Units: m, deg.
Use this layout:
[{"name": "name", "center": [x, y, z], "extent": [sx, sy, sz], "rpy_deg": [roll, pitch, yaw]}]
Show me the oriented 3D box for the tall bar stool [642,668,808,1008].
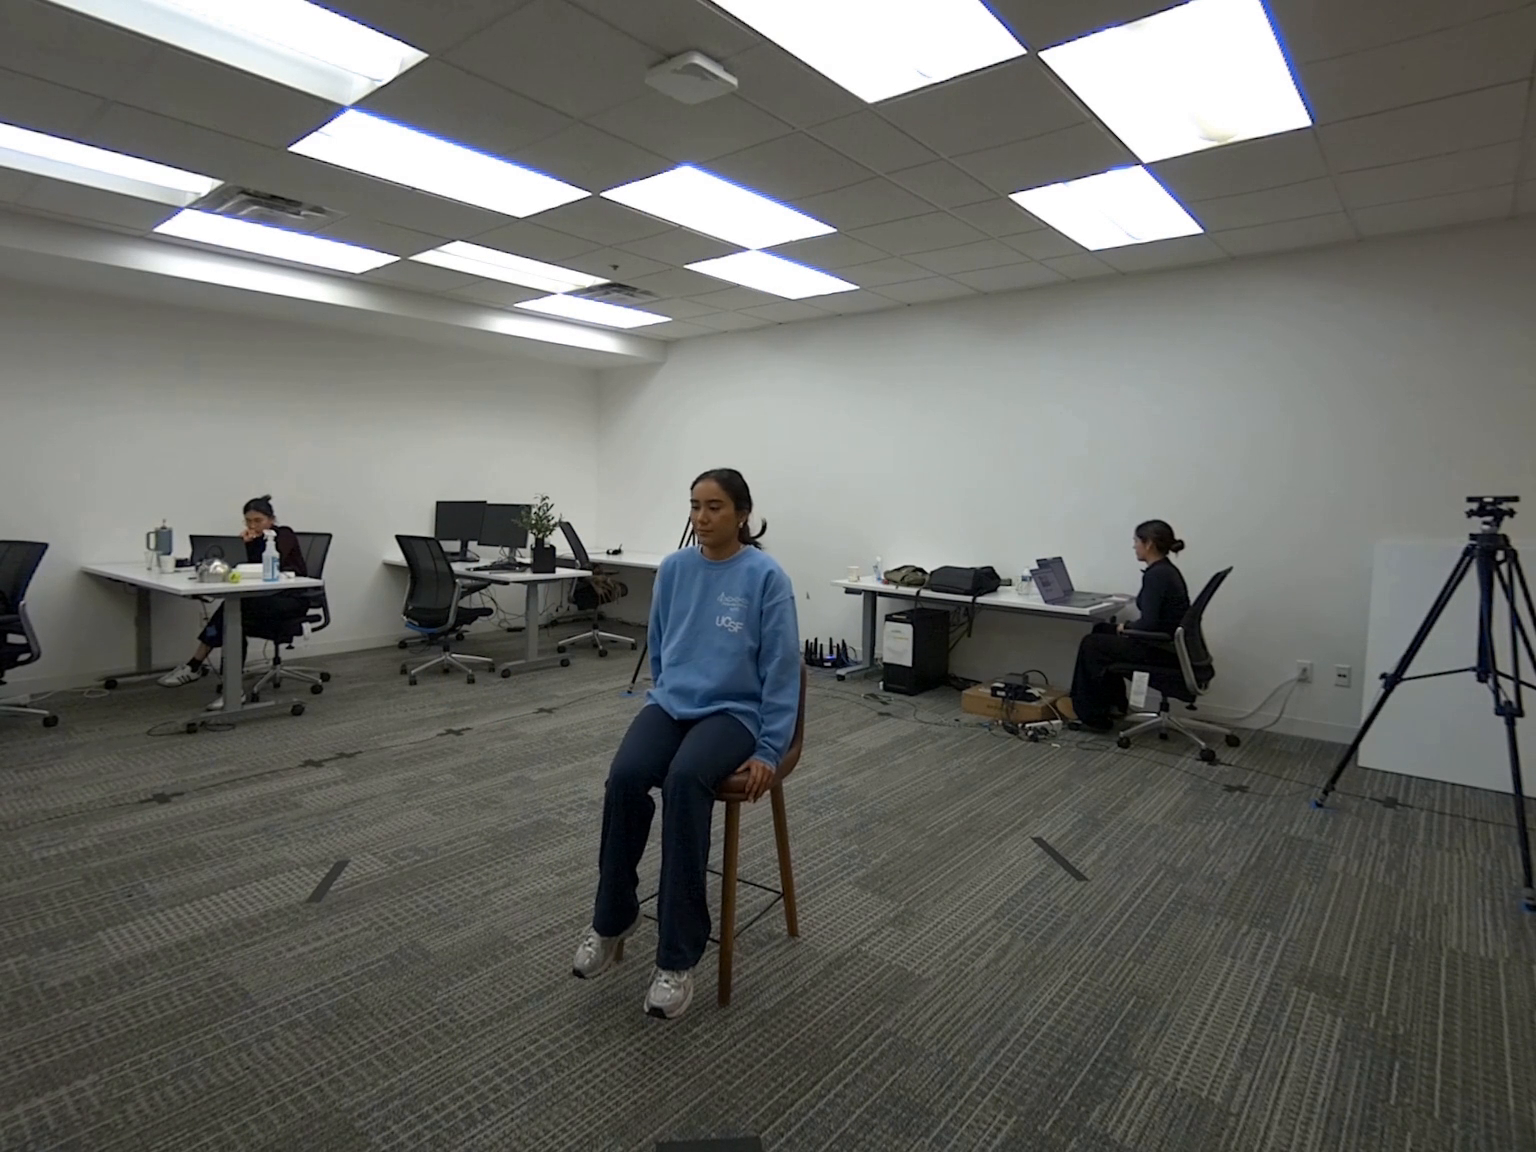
[{"name": "tall bar stool", "center": [-0.171, 0.687, 2.552], "extent": [0.470, 0.888, 0.454], "rpy_deg": [4, 3, 31]}]
